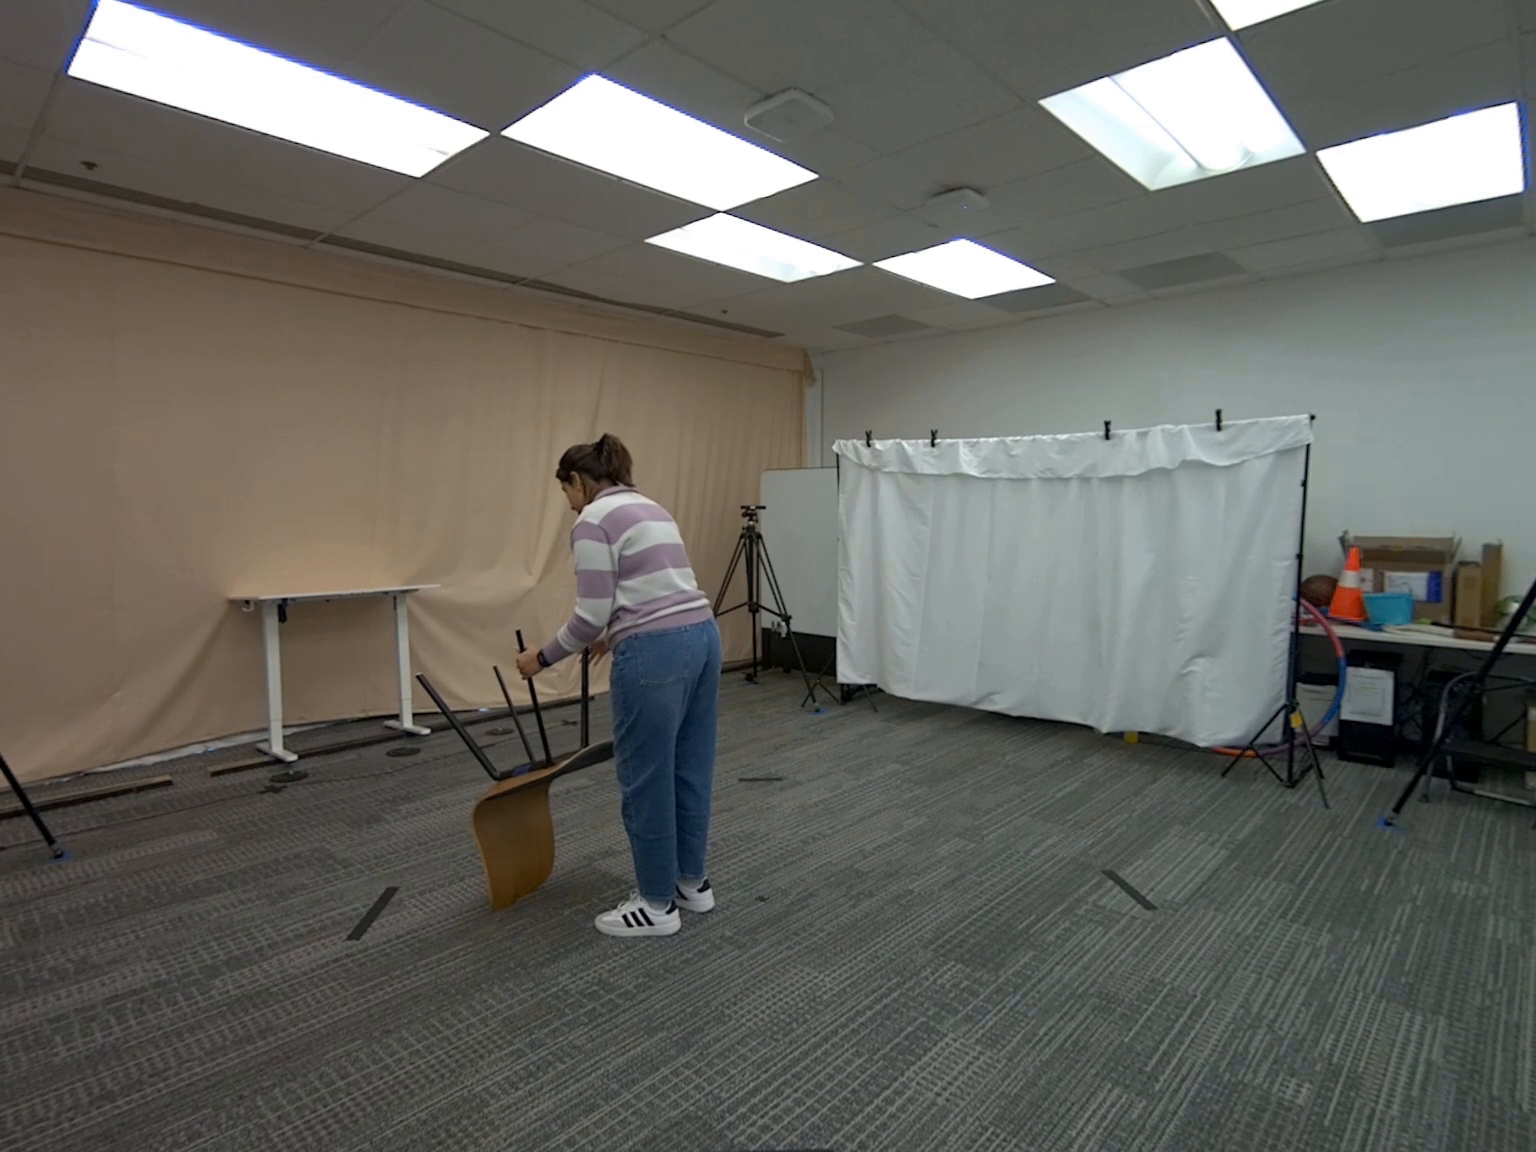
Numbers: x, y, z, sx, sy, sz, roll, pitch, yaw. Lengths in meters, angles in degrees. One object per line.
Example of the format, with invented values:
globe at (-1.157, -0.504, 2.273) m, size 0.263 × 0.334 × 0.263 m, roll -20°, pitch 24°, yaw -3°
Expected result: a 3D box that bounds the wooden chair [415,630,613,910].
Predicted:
wooden chair at (-0.786, 0.660, 2.954) m, size 0.531 × 0.886 × 0.466 m, roll -19°, pitch -11°, yaw 18°
